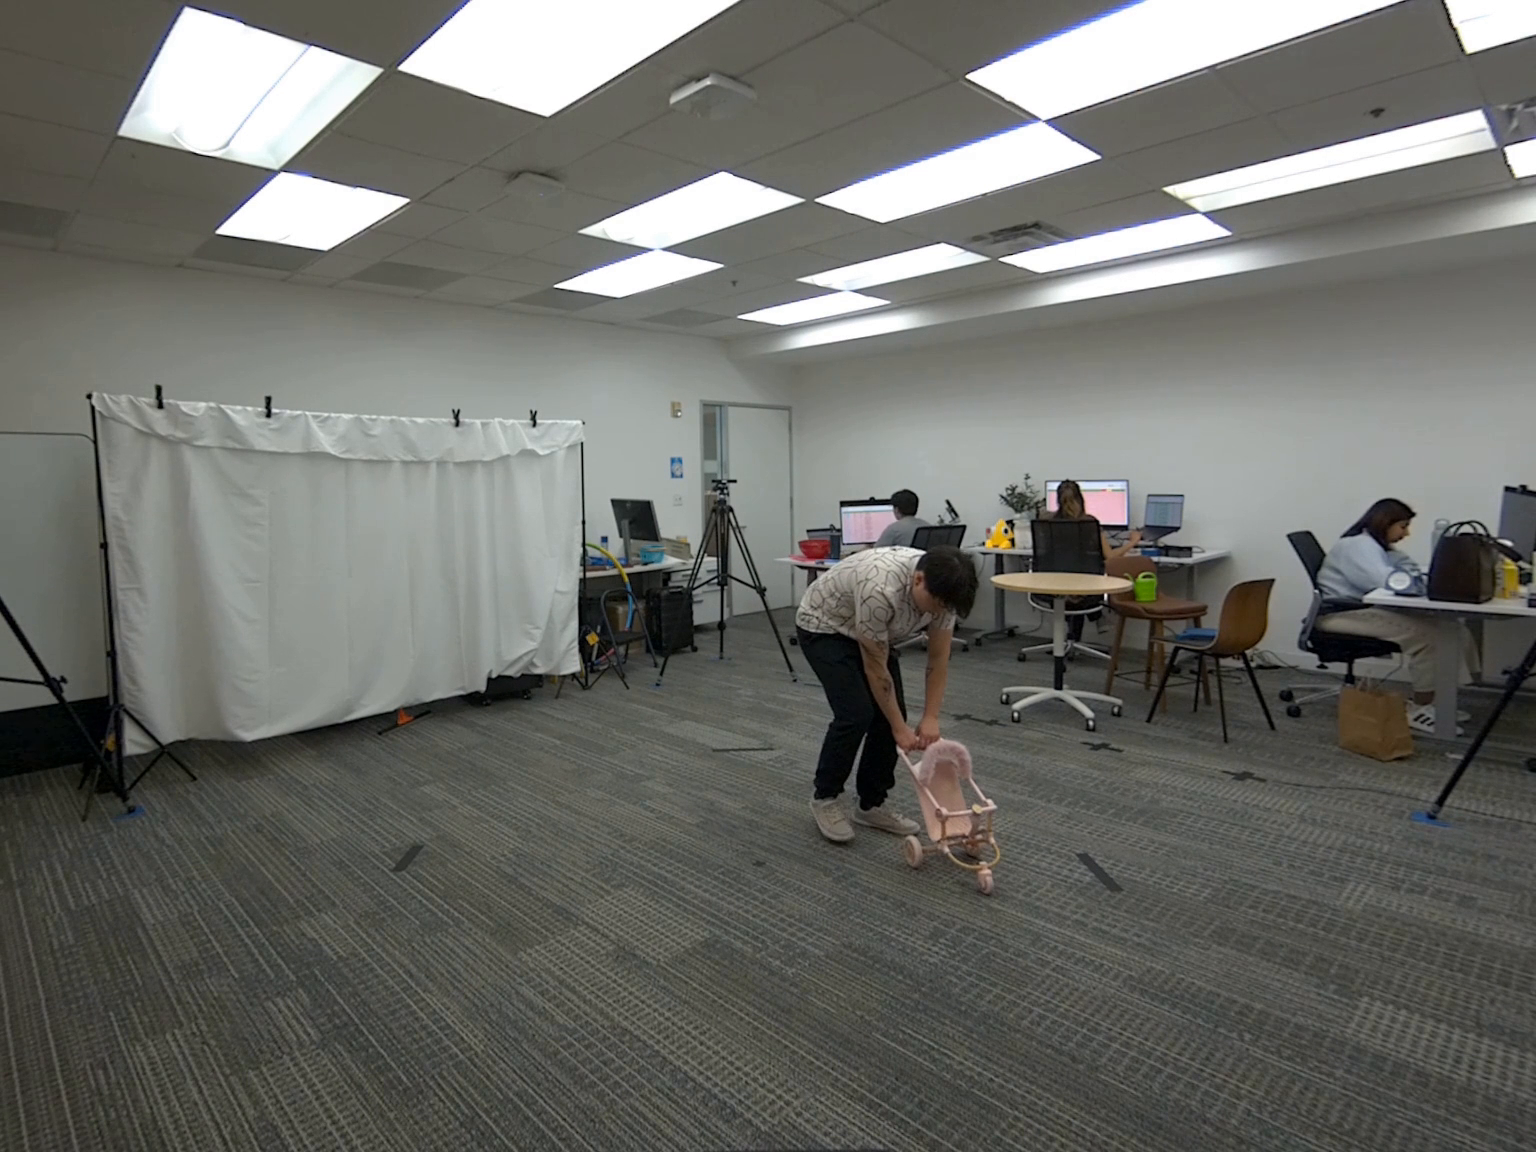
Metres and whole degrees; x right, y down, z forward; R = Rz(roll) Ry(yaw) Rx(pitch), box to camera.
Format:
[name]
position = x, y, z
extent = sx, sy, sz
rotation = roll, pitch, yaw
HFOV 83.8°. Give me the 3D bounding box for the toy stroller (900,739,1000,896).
[toy stroller]
position = 0.651, 0.824, 3.039
extent = 0.277, 0.543, 0.341
rotation = -3, -14, -16
